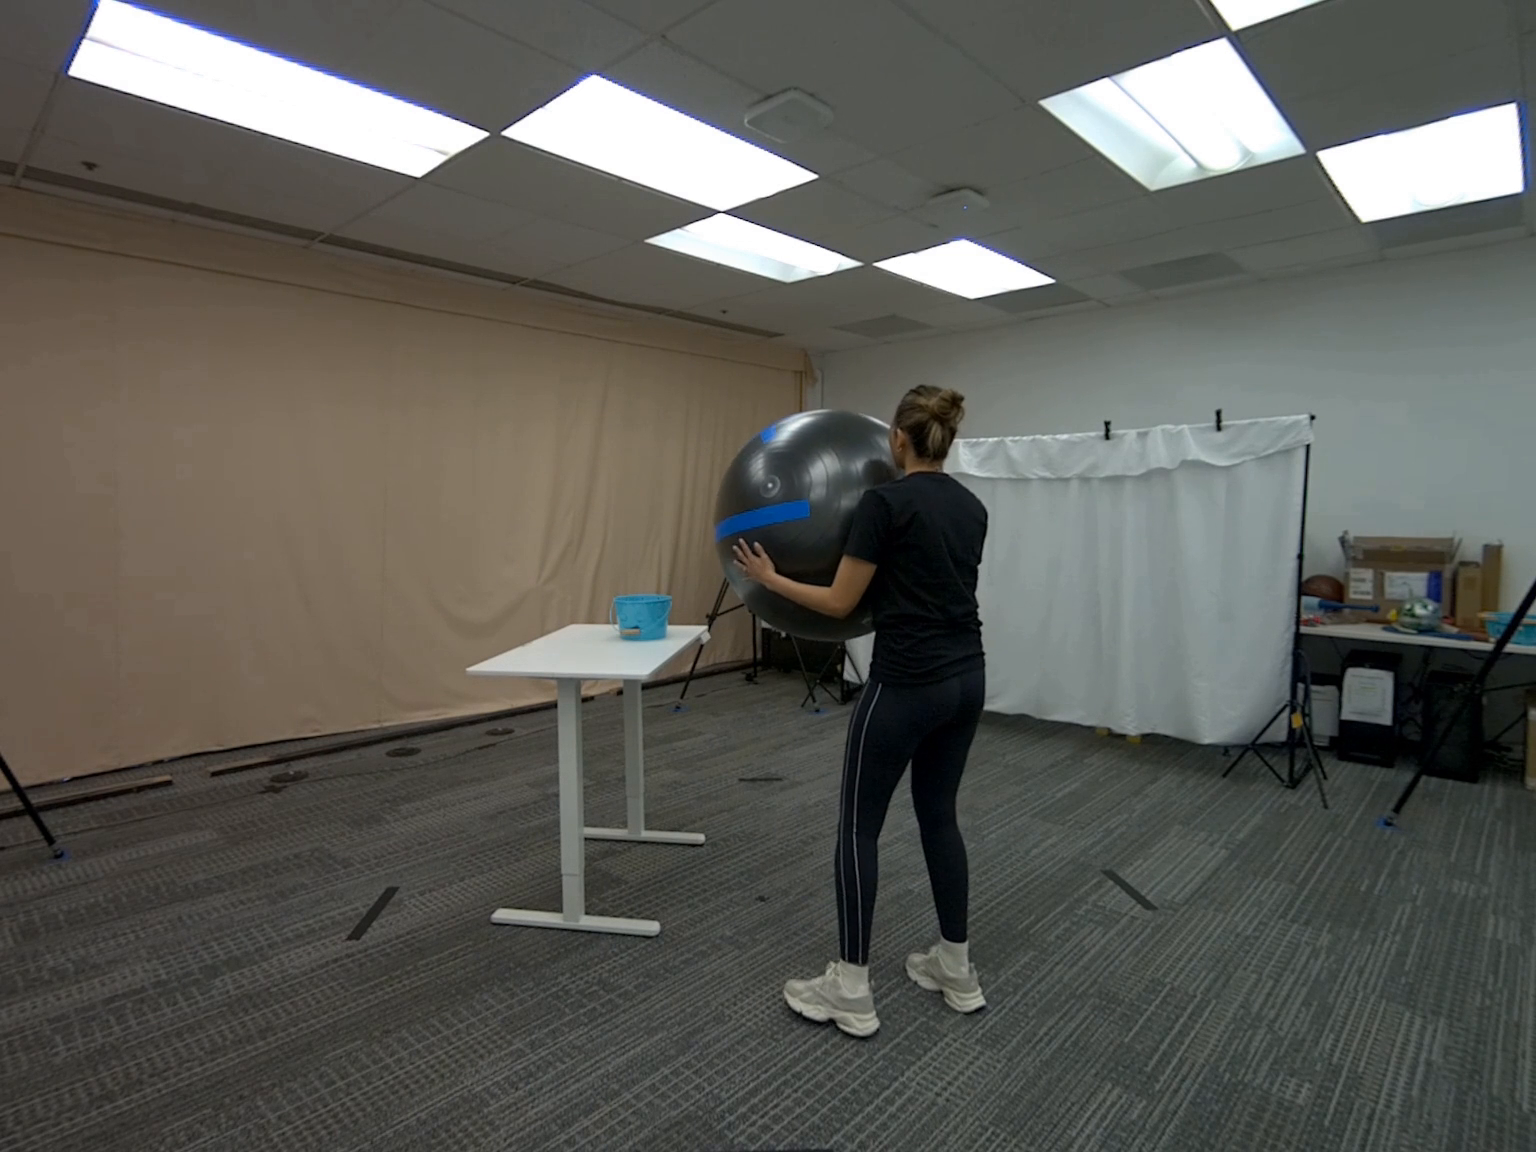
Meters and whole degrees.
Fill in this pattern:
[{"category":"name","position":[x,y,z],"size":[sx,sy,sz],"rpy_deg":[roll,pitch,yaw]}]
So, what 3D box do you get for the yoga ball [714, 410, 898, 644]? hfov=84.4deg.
[{"category":"yoga ball","position":[0.196,-0.155,2.782],"size":[0.757,0.756,0.761],"rpy_deg":[0,4,-2]}]
